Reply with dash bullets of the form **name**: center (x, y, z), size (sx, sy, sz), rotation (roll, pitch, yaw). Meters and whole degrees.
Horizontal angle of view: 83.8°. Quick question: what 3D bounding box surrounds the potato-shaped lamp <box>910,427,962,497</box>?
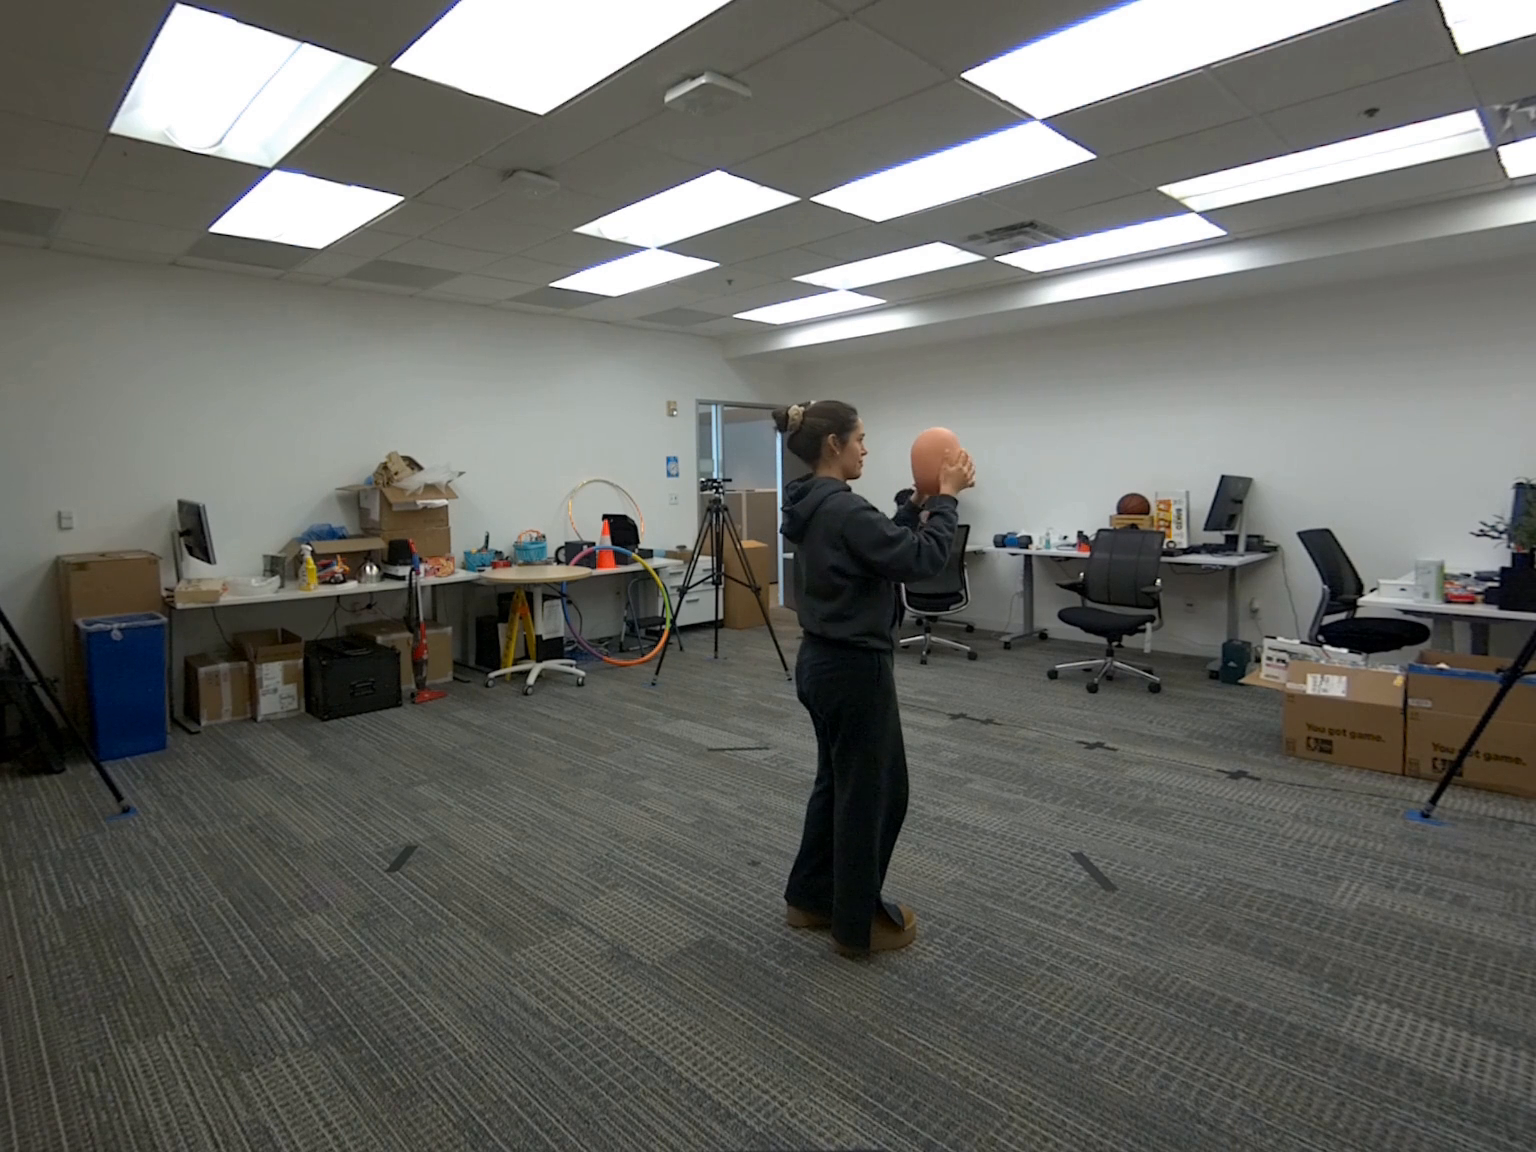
- **potato-shaped lamp**: center (0.495, -0.343, 2.520), size (0.171, 0.197, 0.165), rotation (0, 3, -2)
